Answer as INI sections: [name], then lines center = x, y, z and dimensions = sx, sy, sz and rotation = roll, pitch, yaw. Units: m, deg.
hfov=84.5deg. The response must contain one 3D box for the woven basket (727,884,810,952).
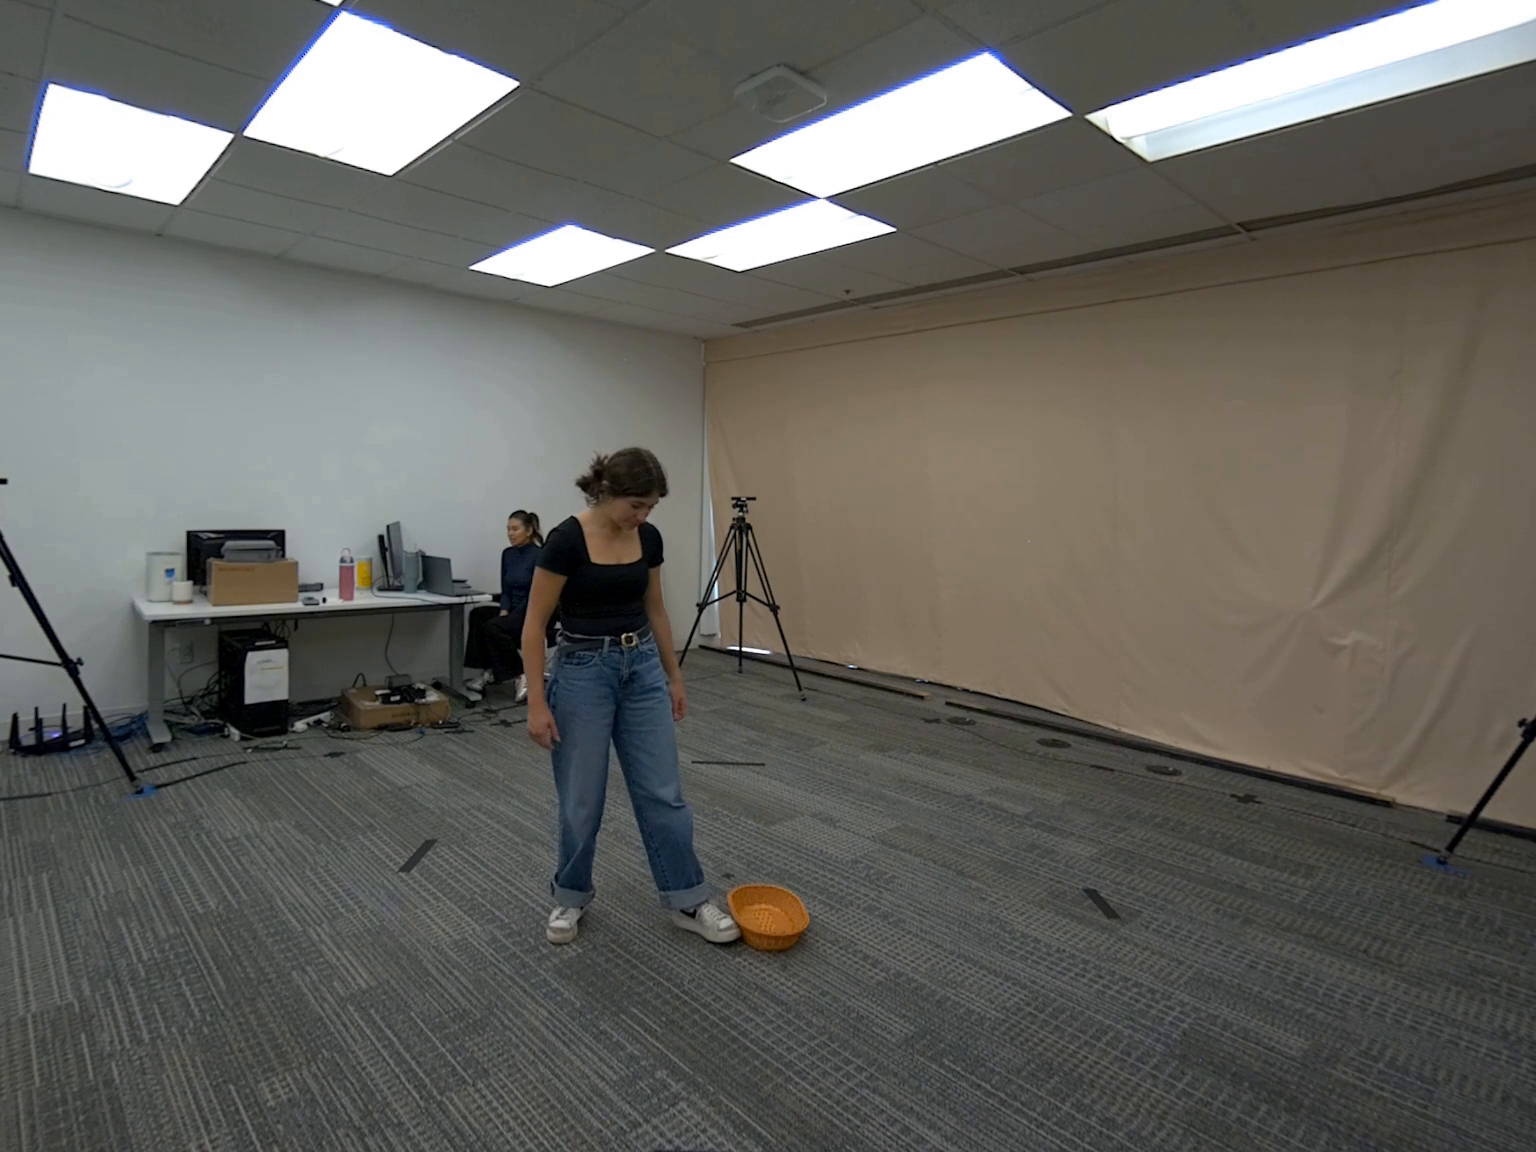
[woven basket]
center = -0.011, 1.107, 2.721
dimensions = 0.250, 0.073, 0.354
rotation = 3, 4, -10
